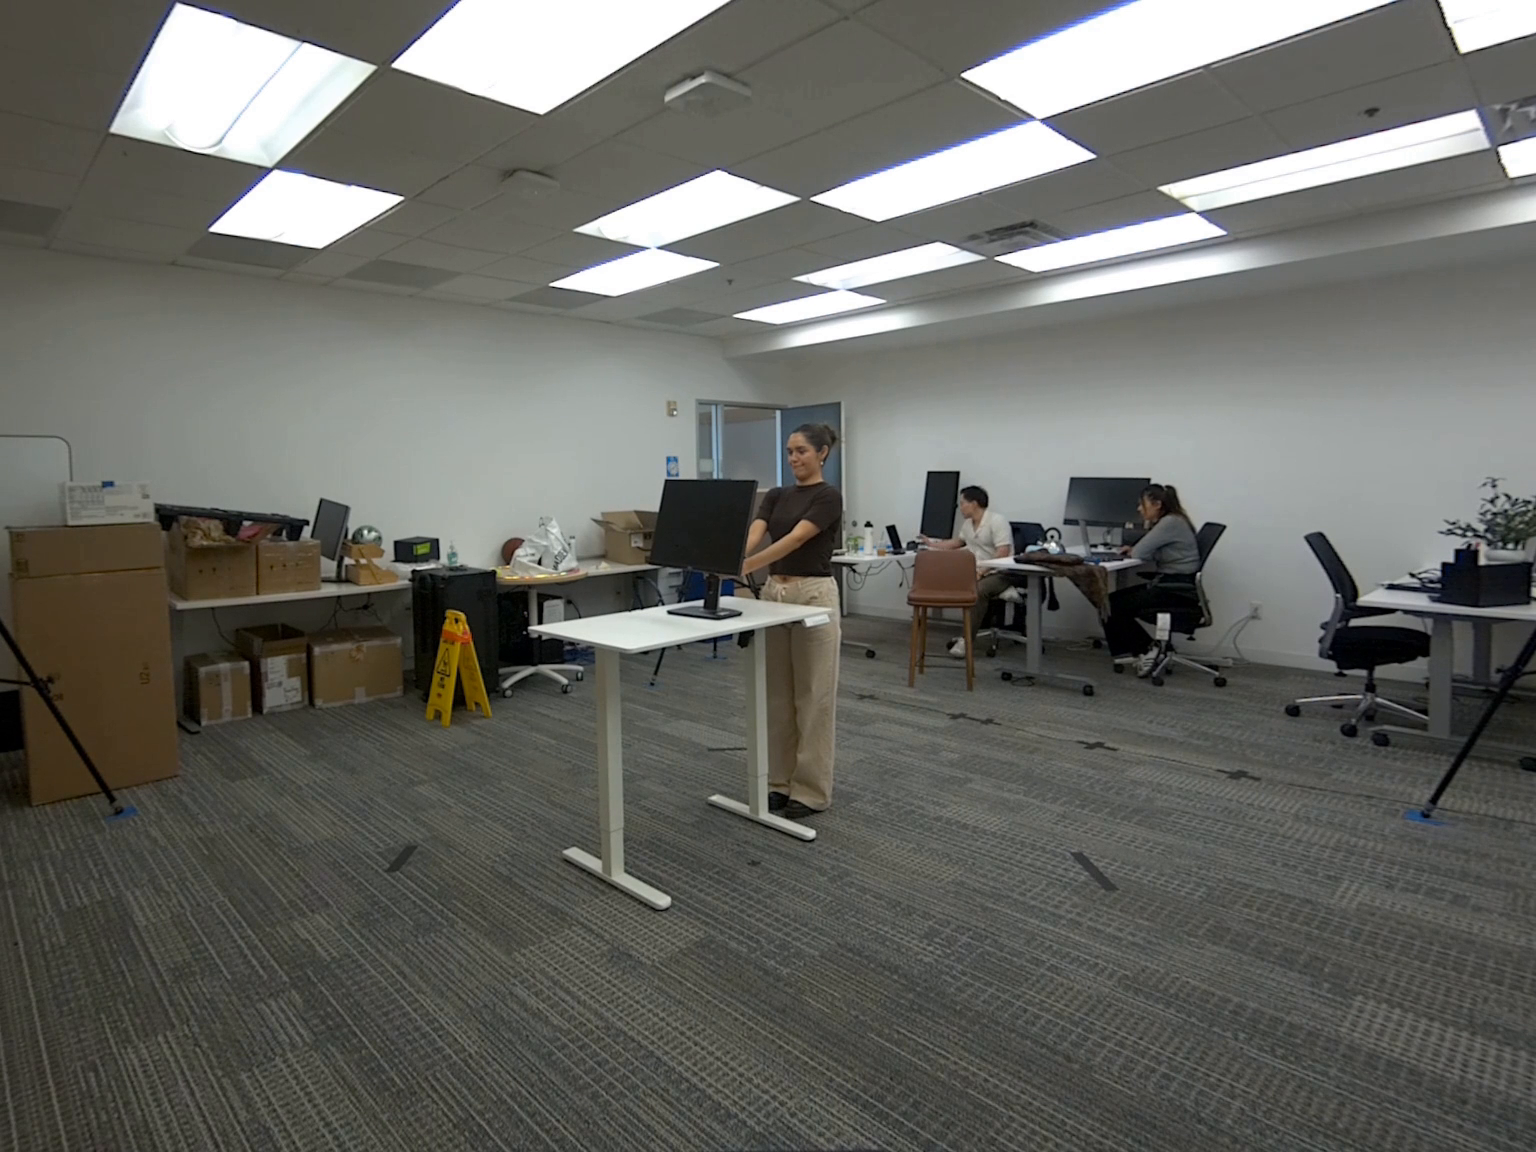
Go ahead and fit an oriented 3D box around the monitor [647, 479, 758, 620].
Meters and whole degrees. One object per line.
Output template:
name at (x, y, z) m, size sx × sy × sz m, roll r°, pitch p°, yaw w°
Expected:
monitor at (-0.235, -0.107, 3.257) m, size 0.182 × 0.521 × 0.556 m, roll -2°, pitch 5°, yaw -44°
